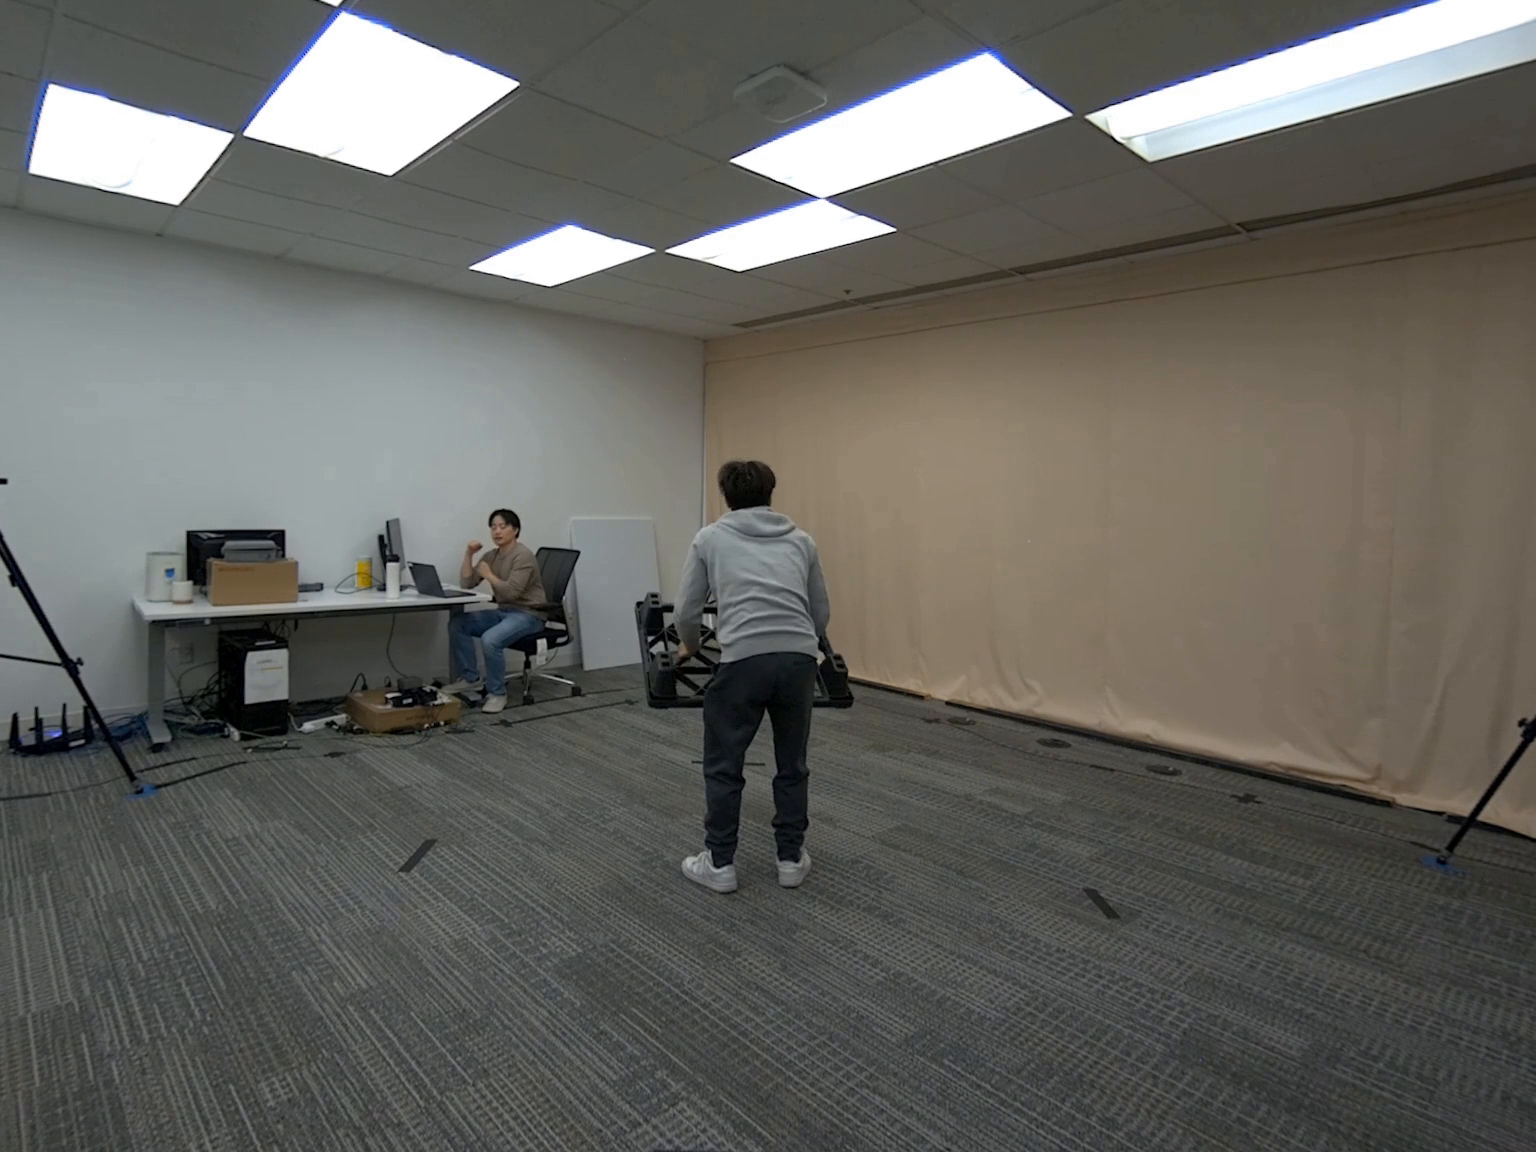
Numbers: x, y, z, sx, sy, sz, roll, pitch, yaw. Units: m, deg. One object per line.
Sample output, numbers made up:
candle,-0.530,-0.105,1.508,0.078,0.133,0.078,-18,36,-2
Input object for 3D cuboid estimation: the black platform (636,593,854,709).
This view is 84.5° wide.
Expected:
black platform,-0.111,0.276,3.367,0.795,0.141,0.622,2,34,-15
